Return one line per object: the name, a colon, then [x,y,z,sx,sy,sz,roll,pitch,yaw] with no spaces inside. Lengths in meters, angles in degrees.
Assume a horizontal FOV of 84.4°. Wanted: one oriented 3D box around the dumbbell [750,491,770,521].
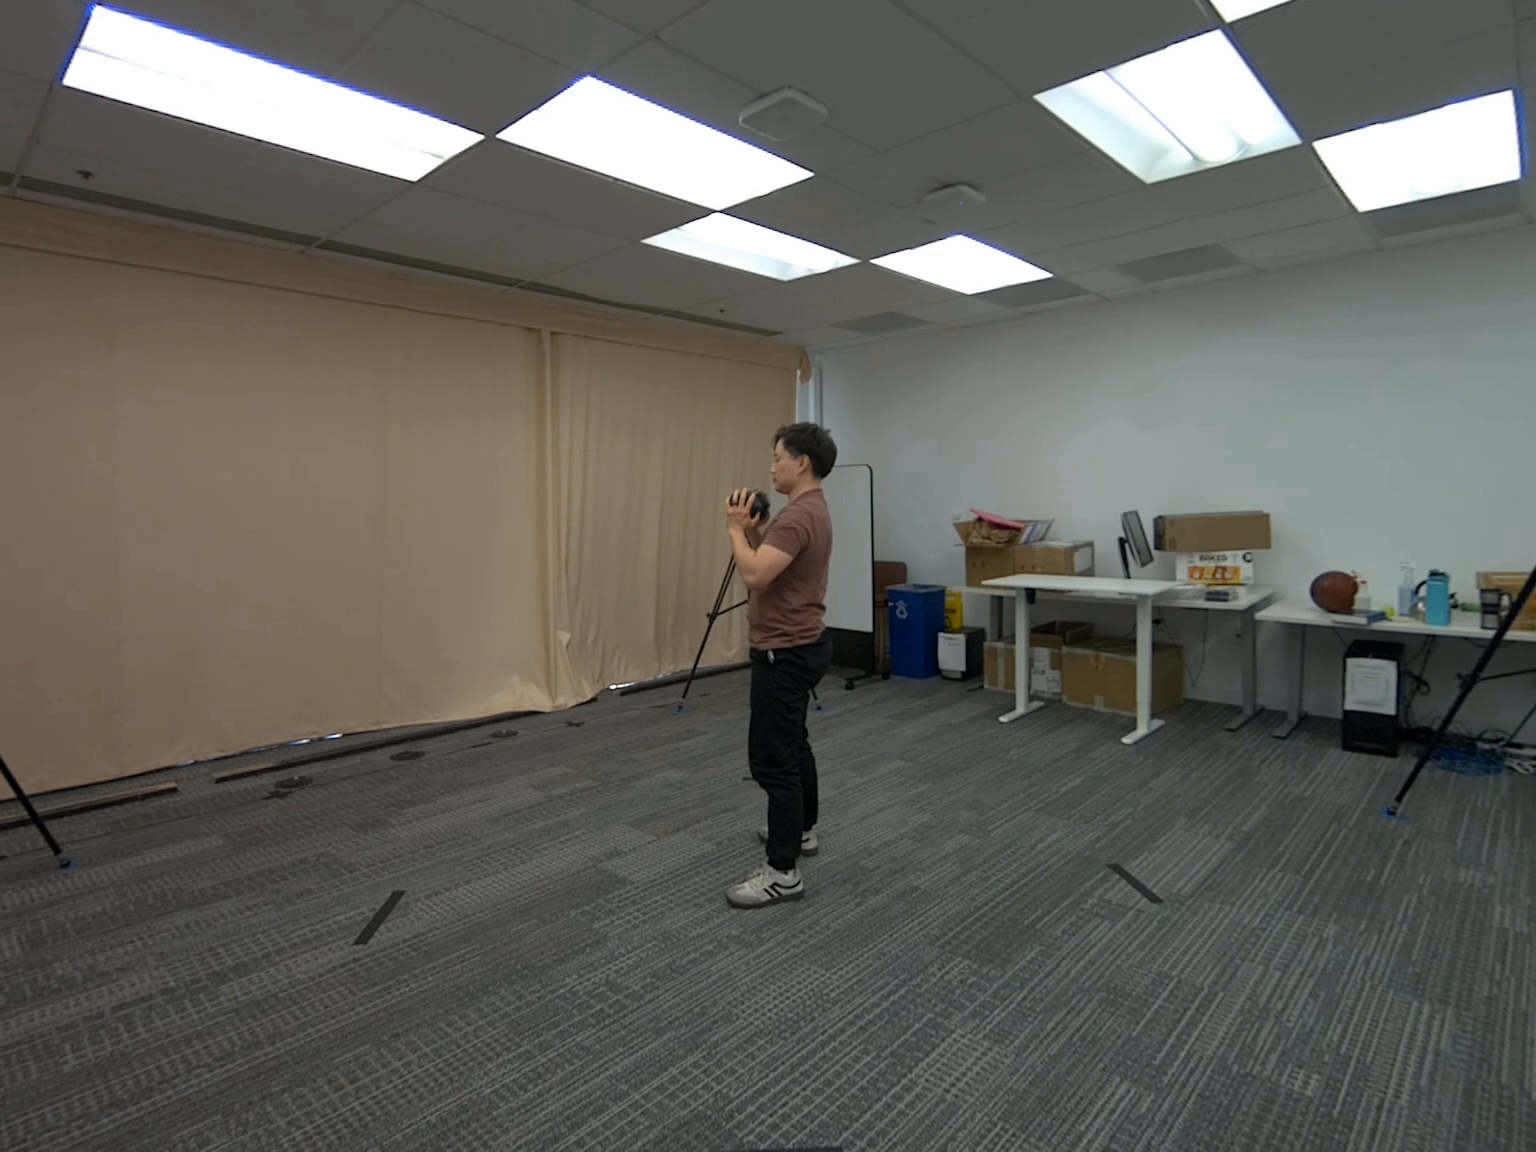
dumbbell: [-0.056,-0.257,3.156,0.109,0.123,0.291,-39,-1,14]
